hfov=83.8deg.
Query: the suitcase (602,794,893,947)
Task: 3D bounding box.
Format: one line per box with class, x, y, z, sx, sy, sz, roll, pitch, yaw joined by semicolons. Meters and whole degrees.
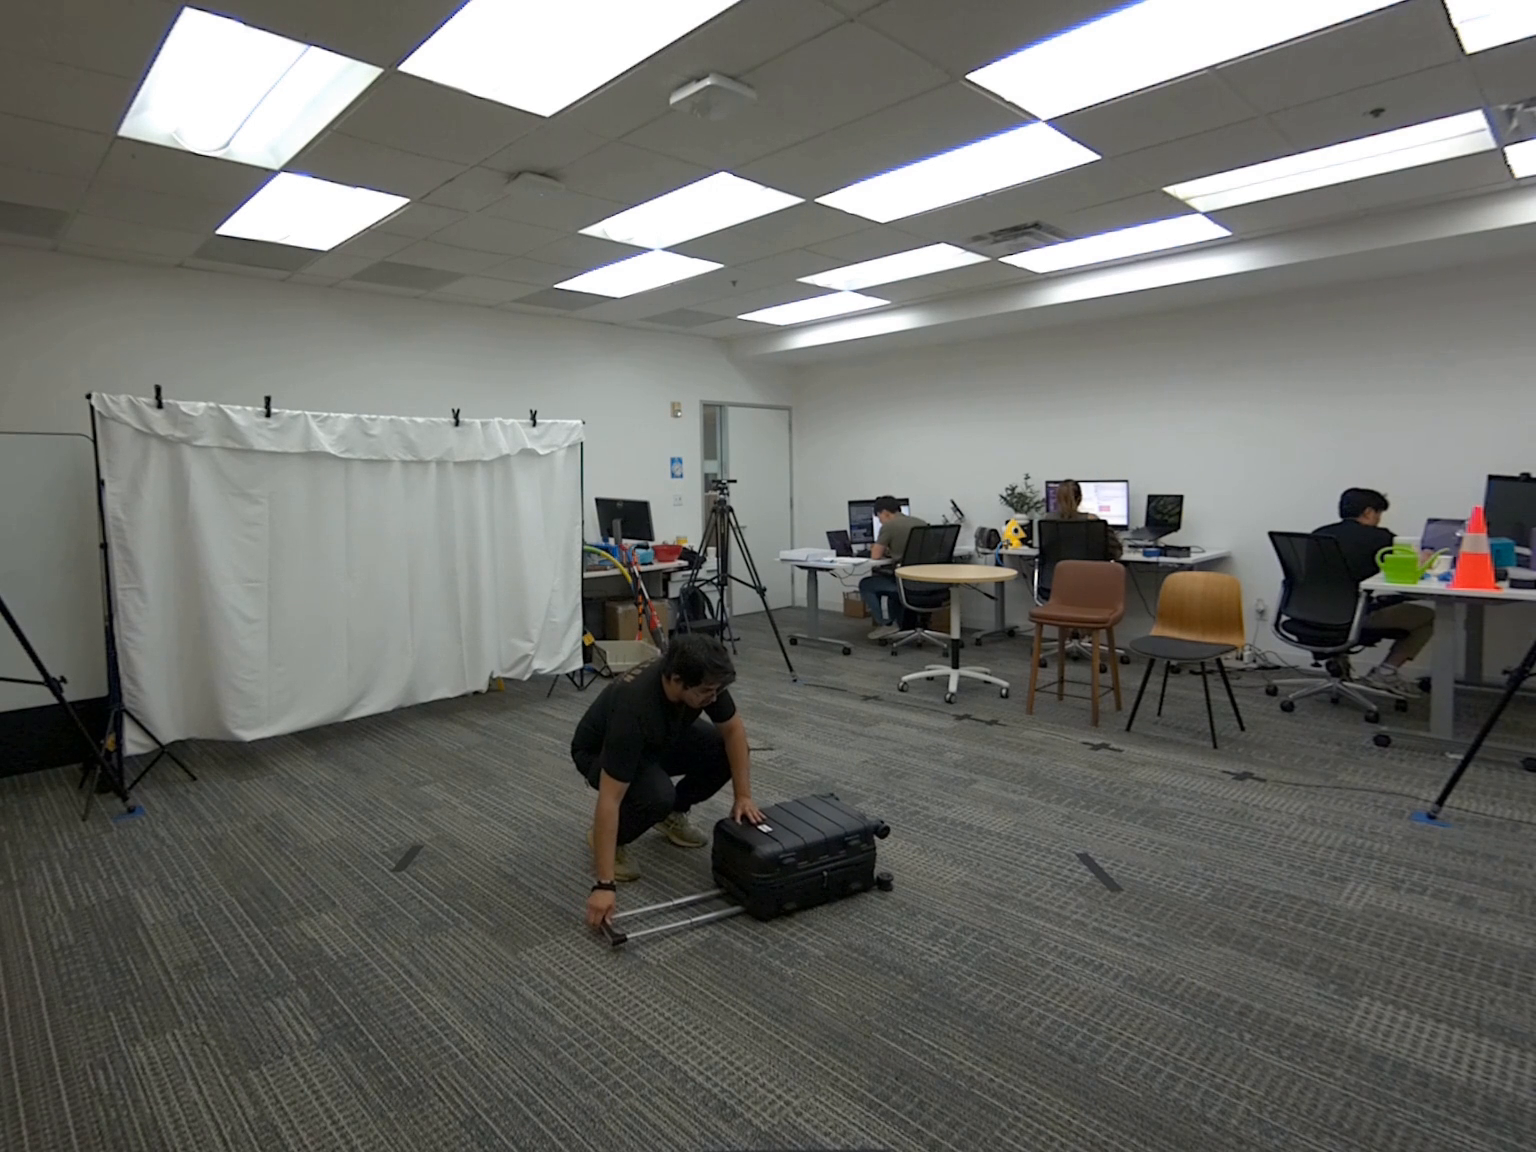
suitcase;-0.071;0.950;2.820;0.955;0.256;0.395;-2;7;-29
